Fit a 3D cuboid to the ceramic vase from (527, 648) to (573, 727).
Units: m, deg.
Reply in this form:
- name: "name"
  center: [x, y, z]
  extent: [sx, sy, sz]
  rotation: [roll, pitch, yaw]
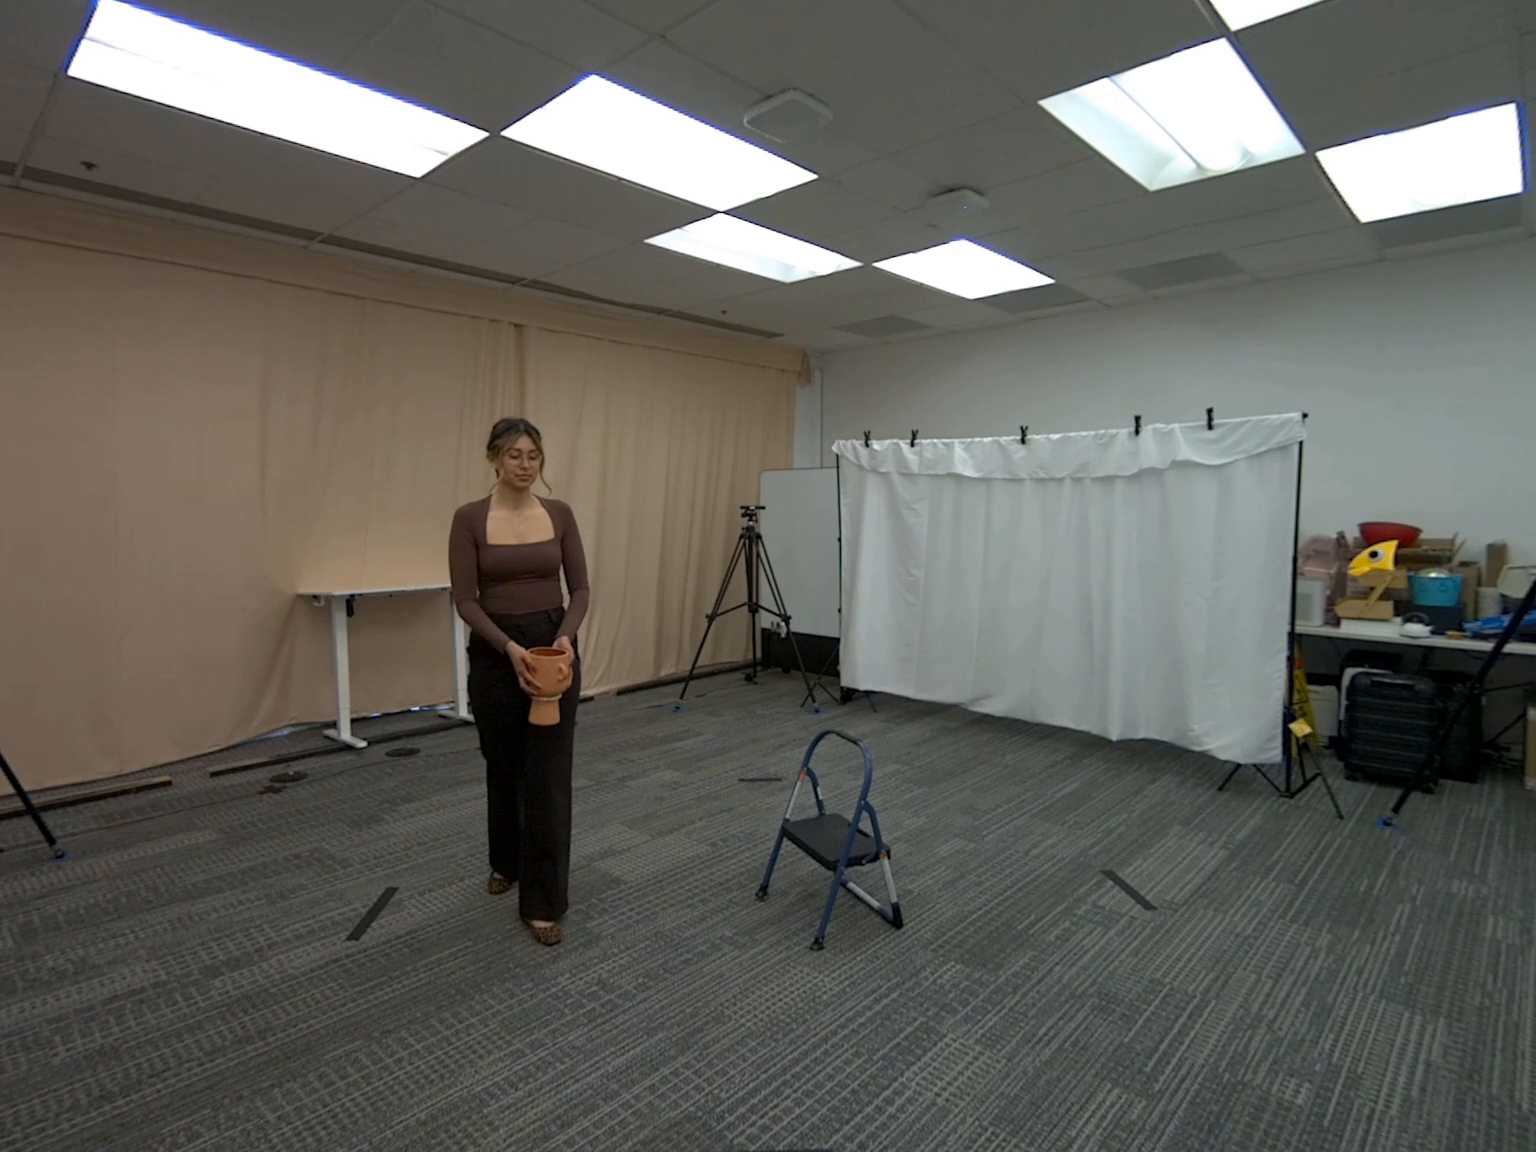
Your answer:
- name: "ceramic vase"
  center: [-0.691, 0.344, 2.652]
  extent: [0.133, 0.219, 0.161]
  rotation: [2, 5, -11]
